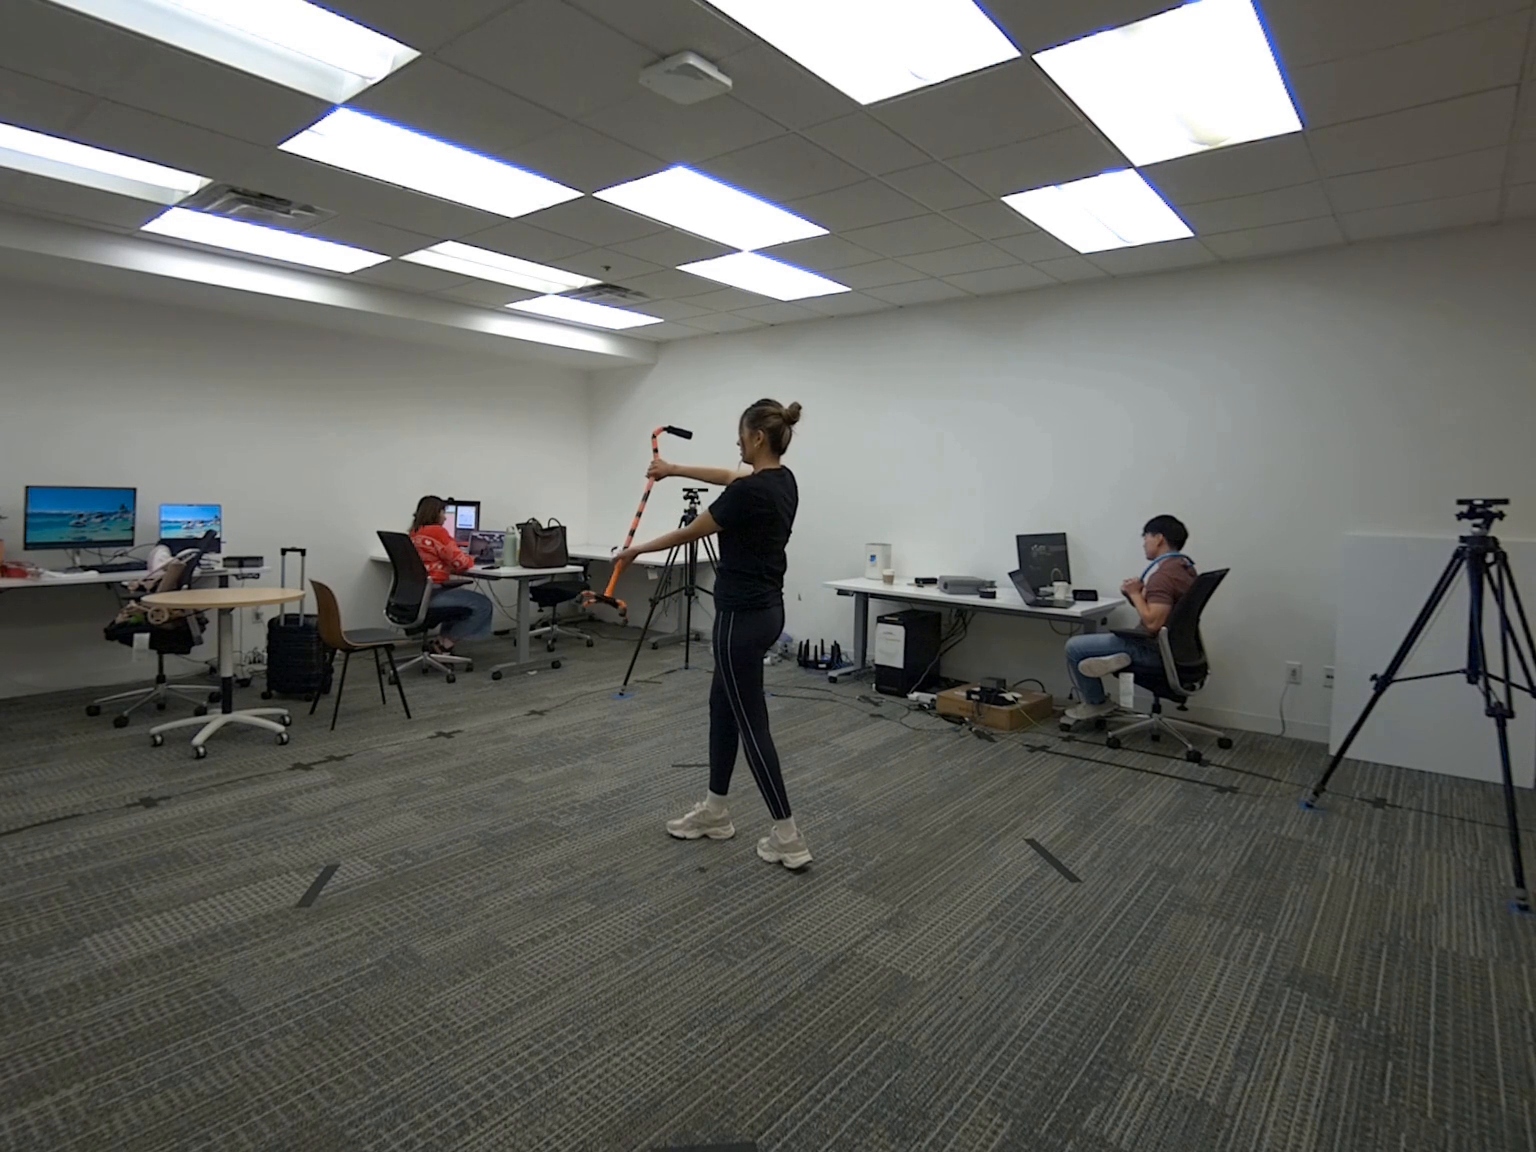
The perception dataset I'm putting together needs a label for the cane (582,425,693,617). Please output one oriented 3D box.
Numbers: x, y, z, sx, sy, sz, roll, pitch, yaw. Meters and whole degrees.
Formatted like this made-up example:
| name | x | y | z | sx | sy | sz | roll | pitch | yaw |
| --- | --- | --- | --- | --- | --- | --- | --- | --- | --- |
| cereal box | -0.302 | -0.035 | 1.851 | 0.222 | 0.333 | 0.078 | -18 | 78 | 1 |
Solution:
| name | x | y | z | sx | sy | sz | roll | pitch | yaw |
| --- | --- | --- | --- | --- | --- | --- | --- | --- | --- |
| cane | -0.547 | -0.253 | 3.516 | 0.207 | 0.921 | 0.149 | 15 | -25 | 2 |
